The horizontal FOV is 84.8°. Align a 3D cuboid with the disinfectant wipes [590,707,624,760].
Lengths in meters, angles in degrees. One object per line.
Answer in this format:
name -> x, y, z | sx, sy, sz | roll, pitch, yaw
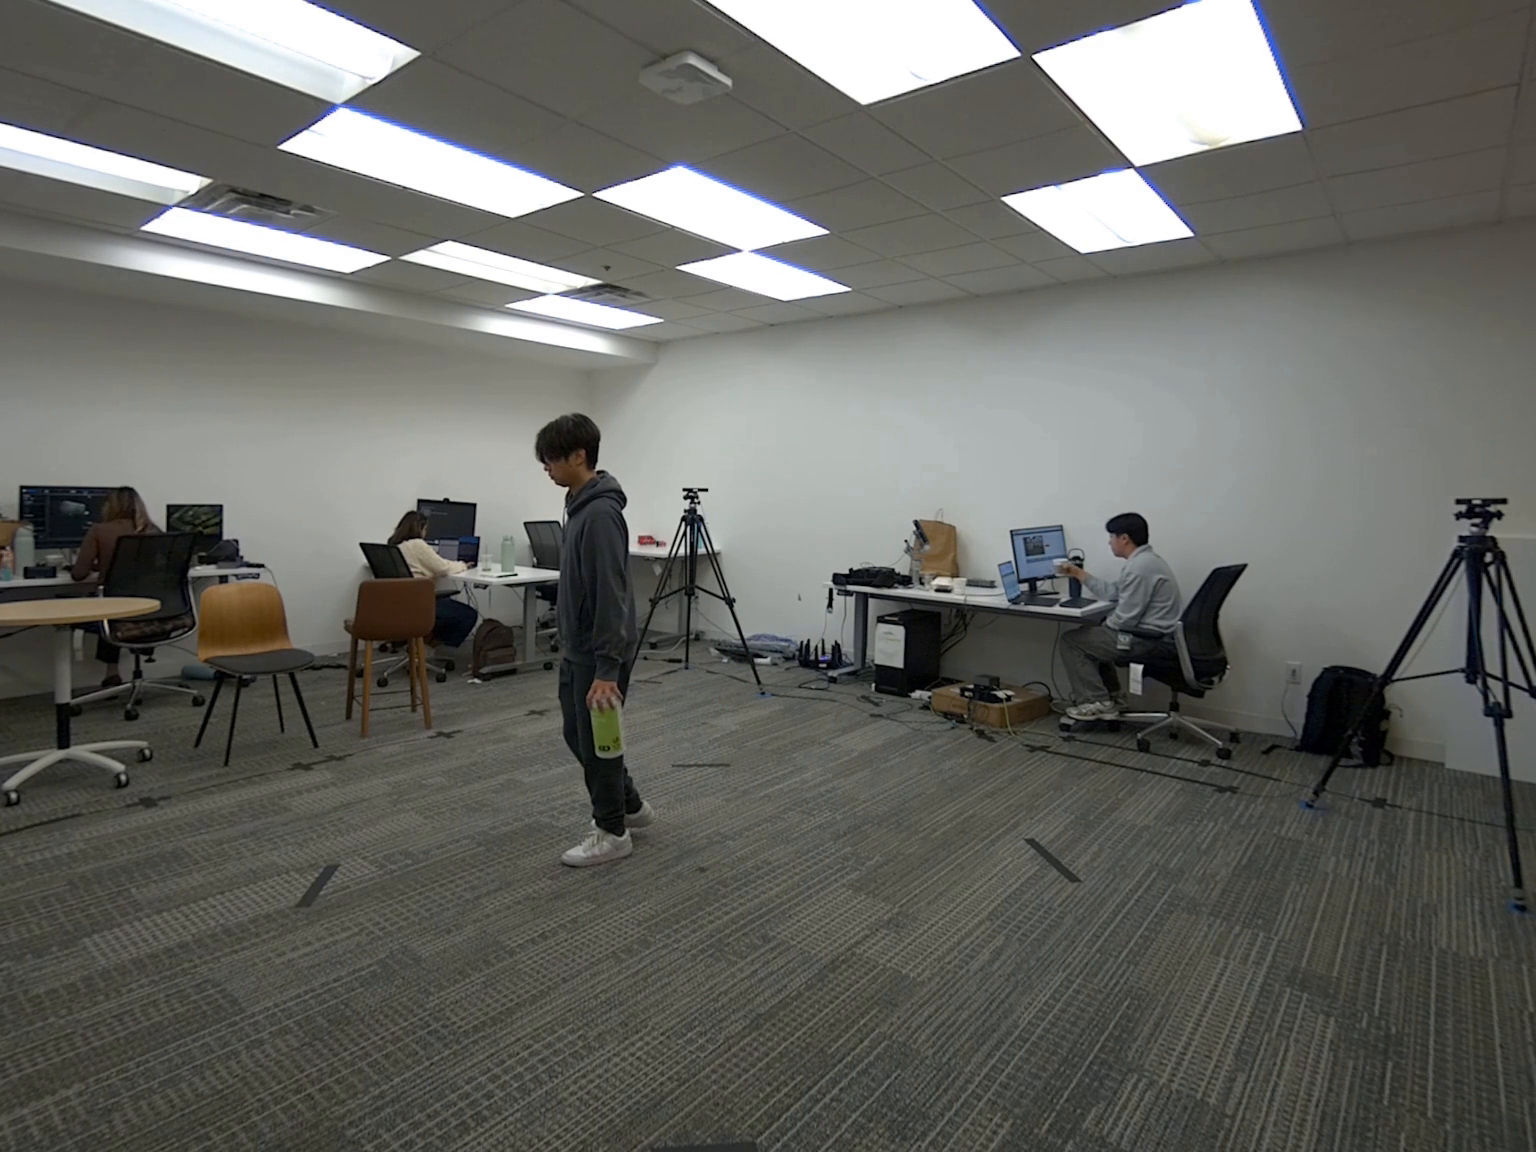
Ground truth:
disinfectant wipes -> -0.568, 0.503, 2.927 | 0.118, 0.215, 0.119 | -6, 12, 0
